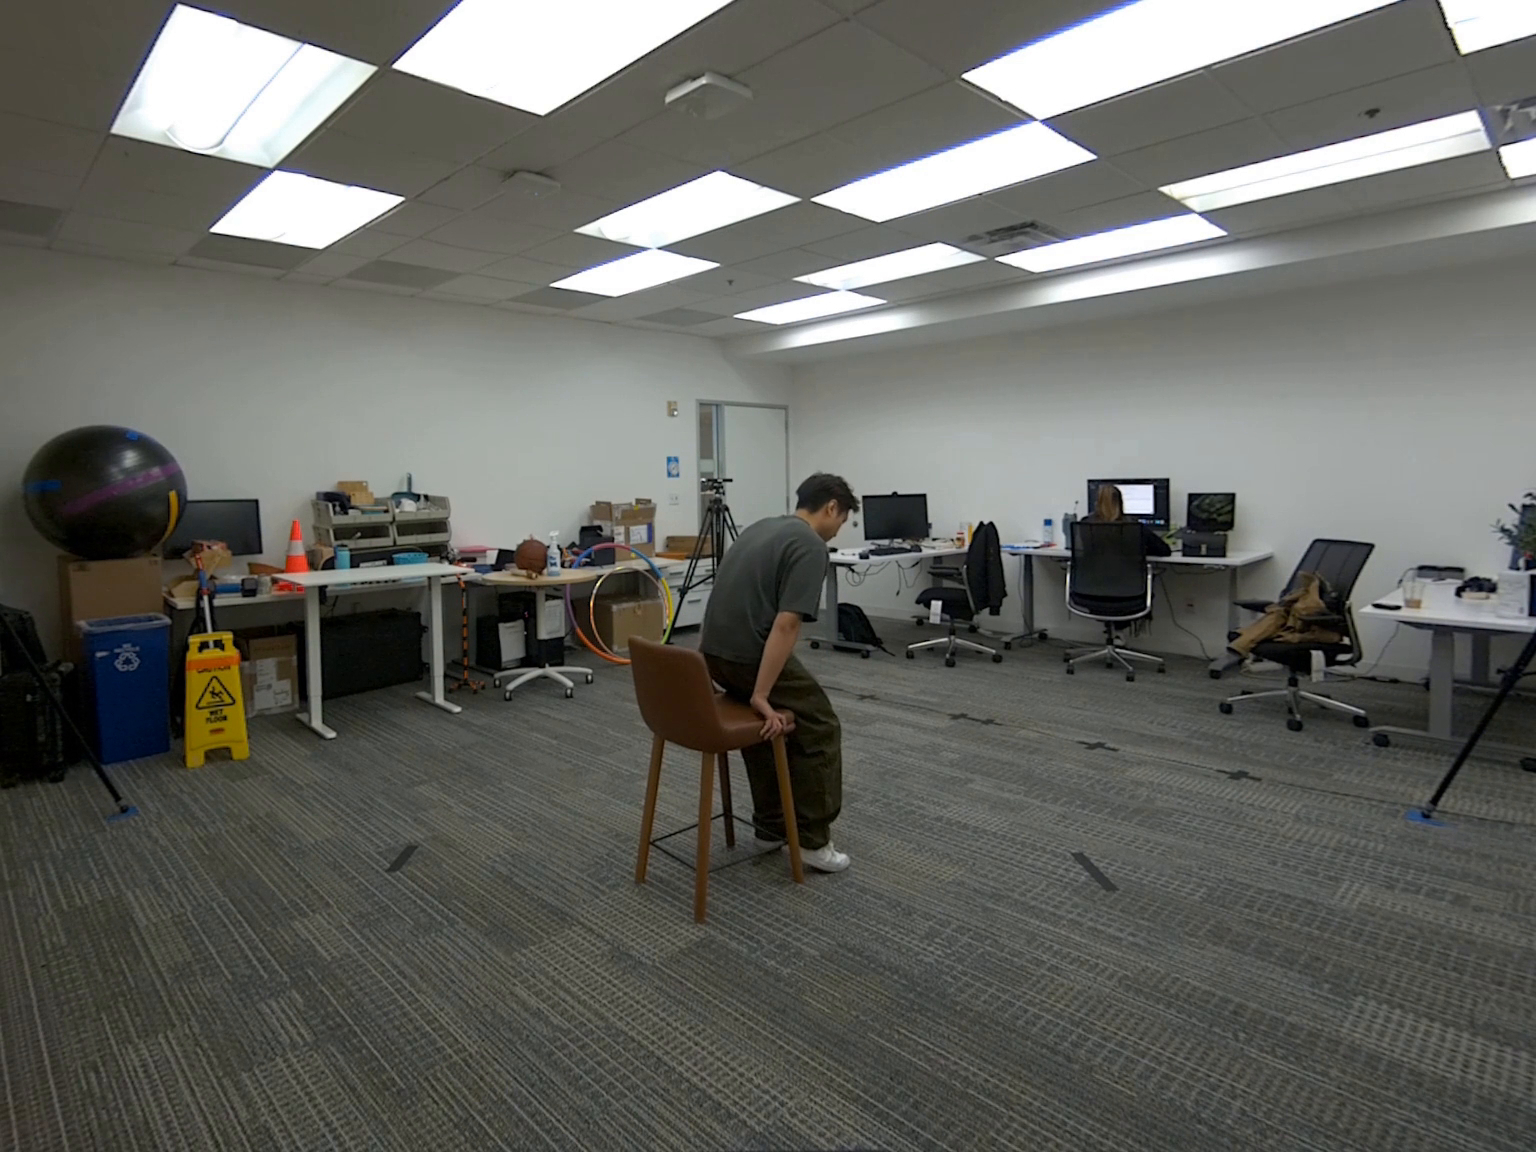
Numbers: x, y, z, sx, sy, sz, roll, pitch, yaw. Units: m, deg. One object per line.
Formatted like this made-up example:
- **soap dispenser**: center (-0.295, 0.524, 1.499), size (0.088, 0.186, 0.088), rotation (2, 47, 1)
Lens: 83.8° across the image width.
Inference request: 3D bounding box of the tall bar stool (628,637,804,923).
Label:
- **tall bar stool**: center (-0.188, 0.627, 2.937), size (0.456, 0.886, 0.470), rotation (-6, 7, -40)
